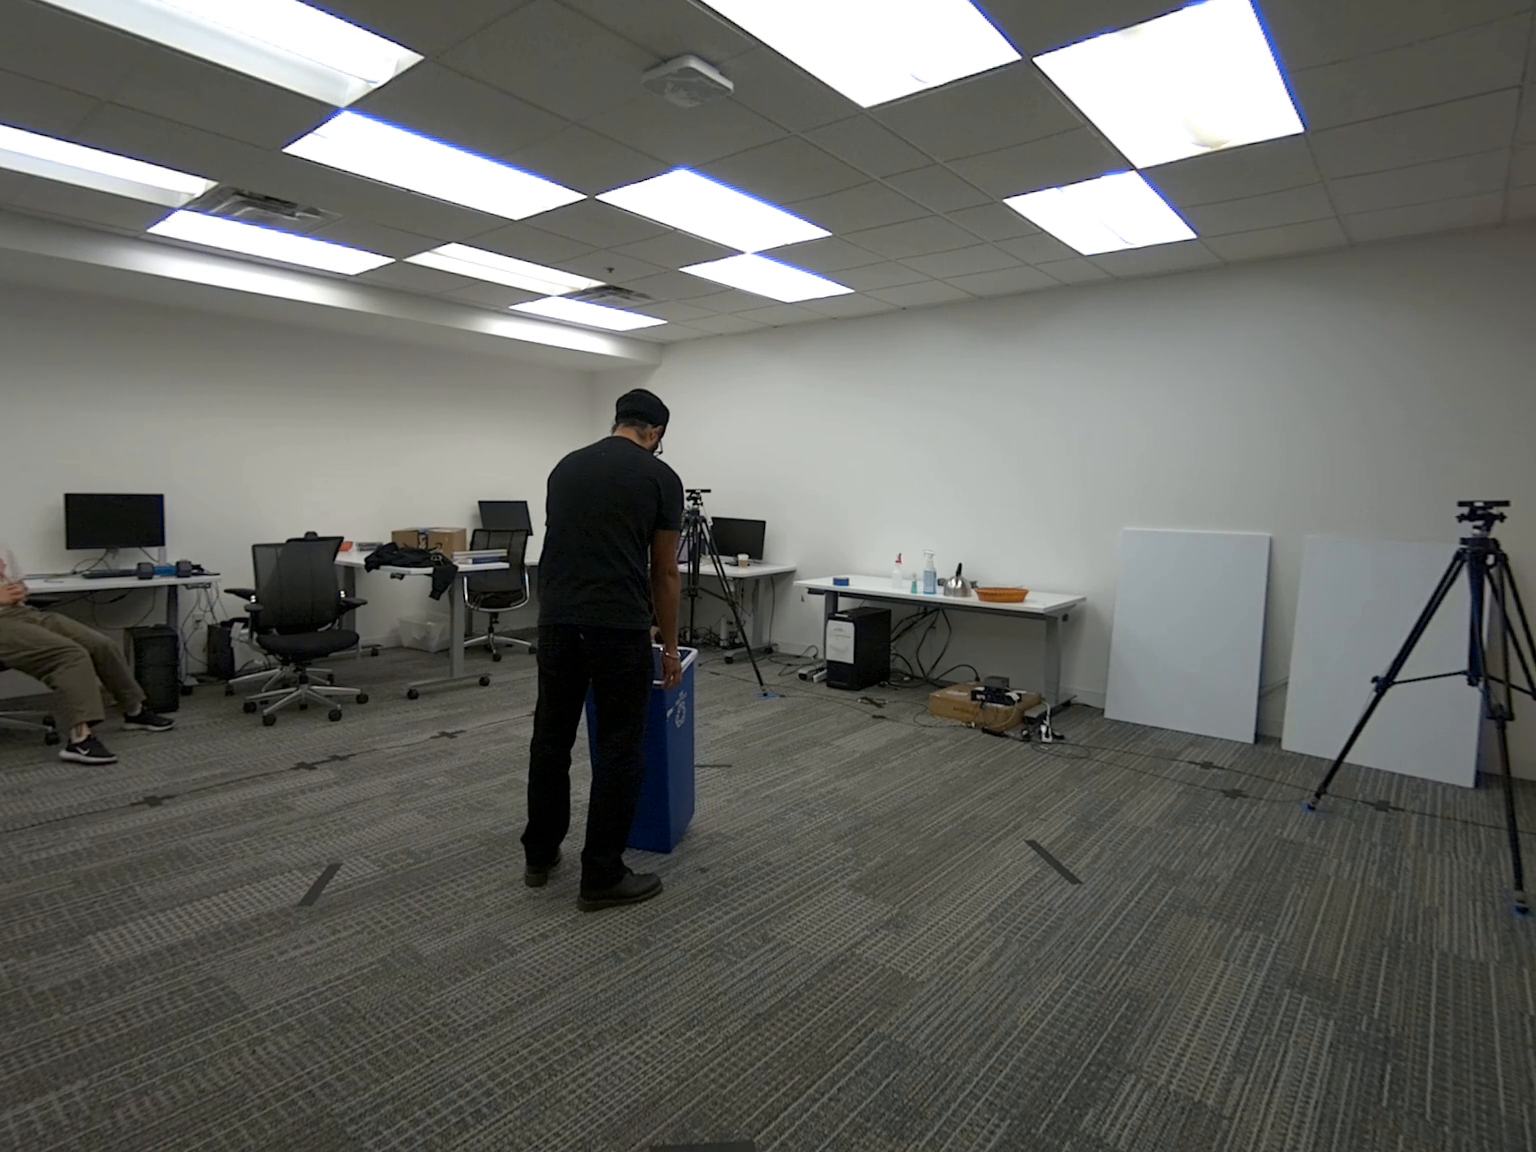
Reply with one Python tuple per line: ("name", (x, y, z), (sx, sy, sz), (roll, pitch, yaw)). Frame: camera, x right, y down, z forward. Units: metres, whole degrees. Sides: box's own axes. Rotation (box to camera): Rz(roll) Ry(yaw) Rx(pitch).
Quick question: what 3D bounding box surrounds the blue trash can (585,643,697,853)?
("blue trash can", (-0.492, 0.669, 3.334), (0.385, 0.705, 0.372), (2, 13, 16))
